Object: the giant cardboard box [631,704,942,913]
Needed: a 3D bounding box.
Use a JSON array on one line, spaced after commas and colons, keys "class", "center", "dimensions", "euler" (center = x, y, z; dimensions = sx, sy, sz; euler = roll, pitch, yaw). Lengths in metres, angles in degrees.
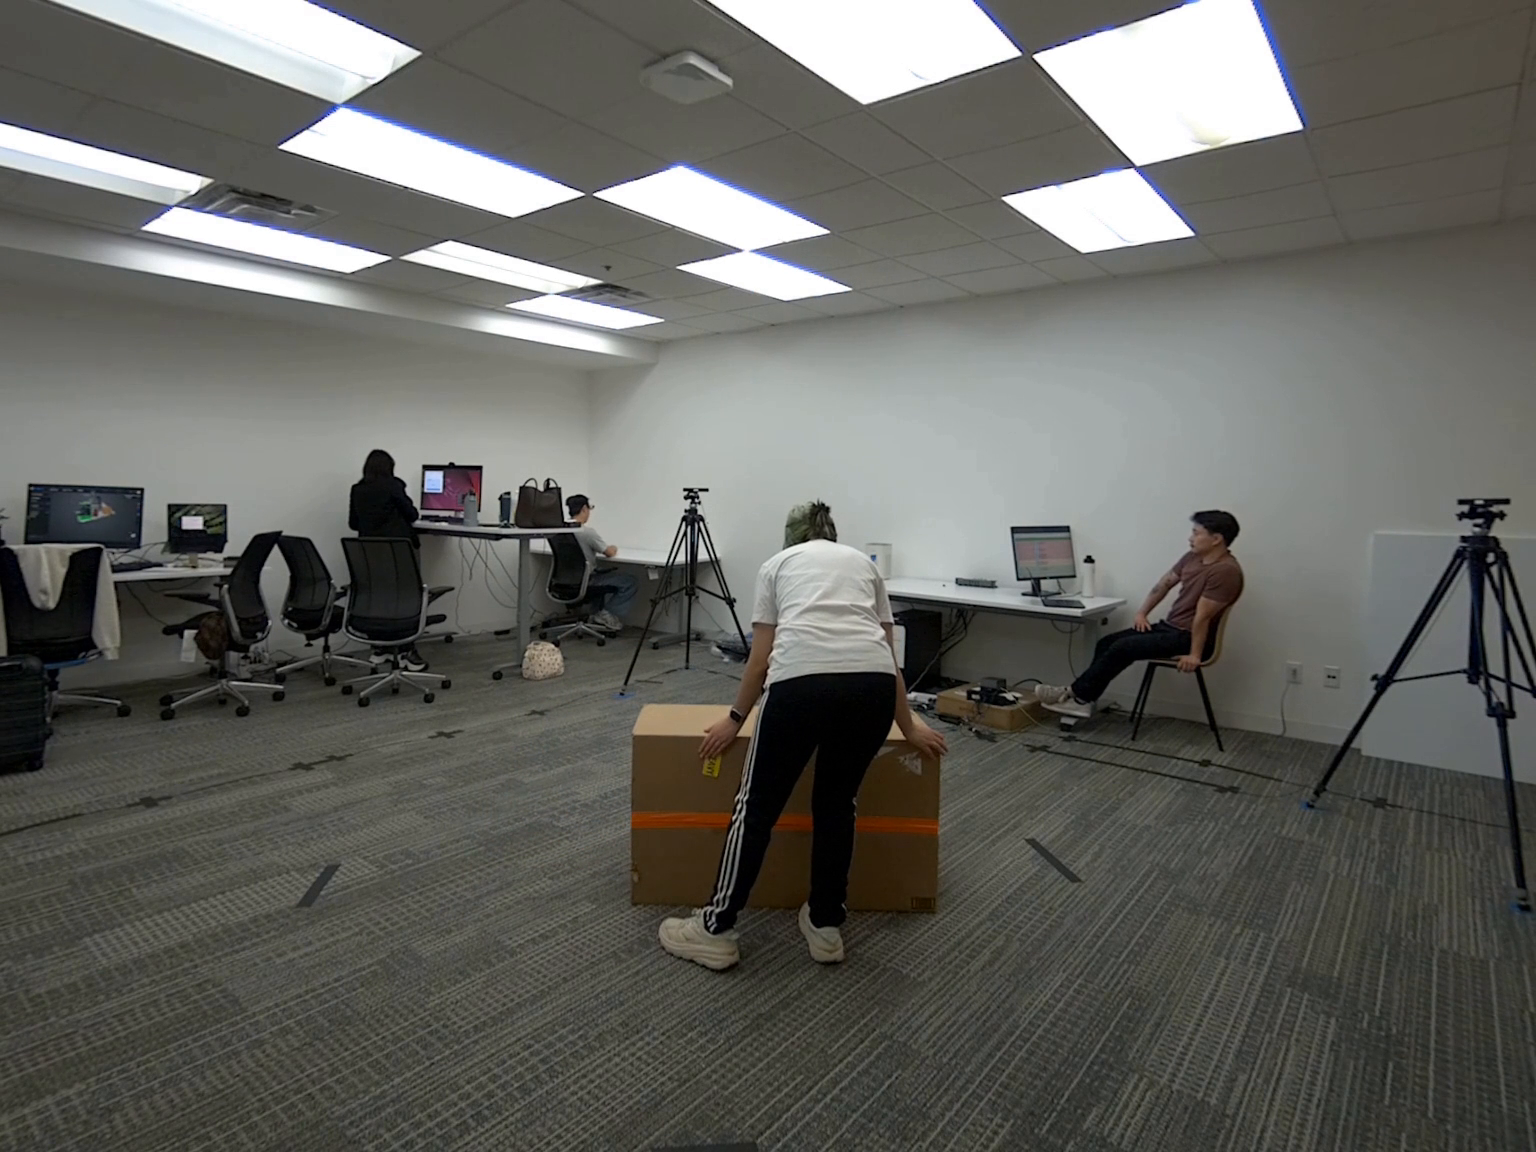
[{"class": "giant cardboard box", "center": [0.035, 0.794, 3.018], "dimensions": [1.026, 0.576, 0.427], "euler": [1, 3, 0]}]
